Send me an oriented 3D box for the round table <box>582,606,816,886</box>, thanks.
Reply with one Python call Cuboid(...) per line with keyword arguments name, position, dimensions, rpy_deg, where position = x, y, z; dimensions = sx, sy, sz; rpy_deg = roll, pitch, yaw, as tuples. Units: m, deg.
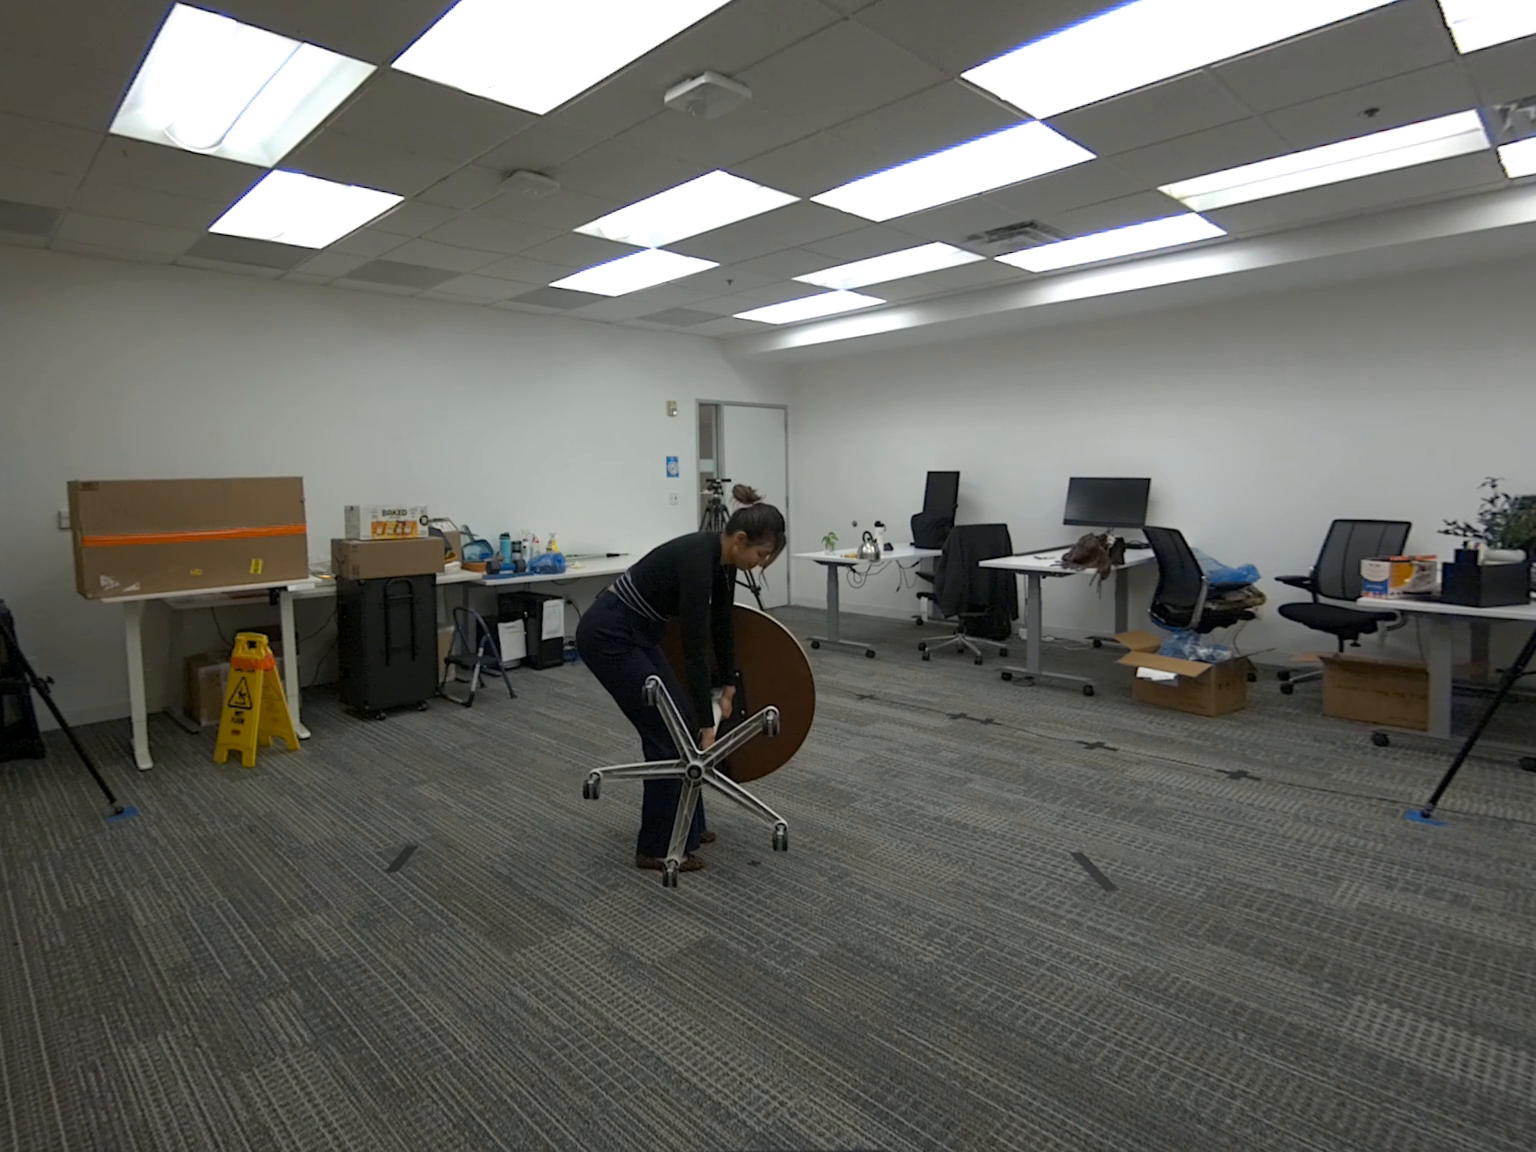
Cuboid(name="round table", position=(-0.211, 0.571, 3.067), dimensions=(0.768, 0.756, 0.798), rpy_deg=(-1, 12, 5))
